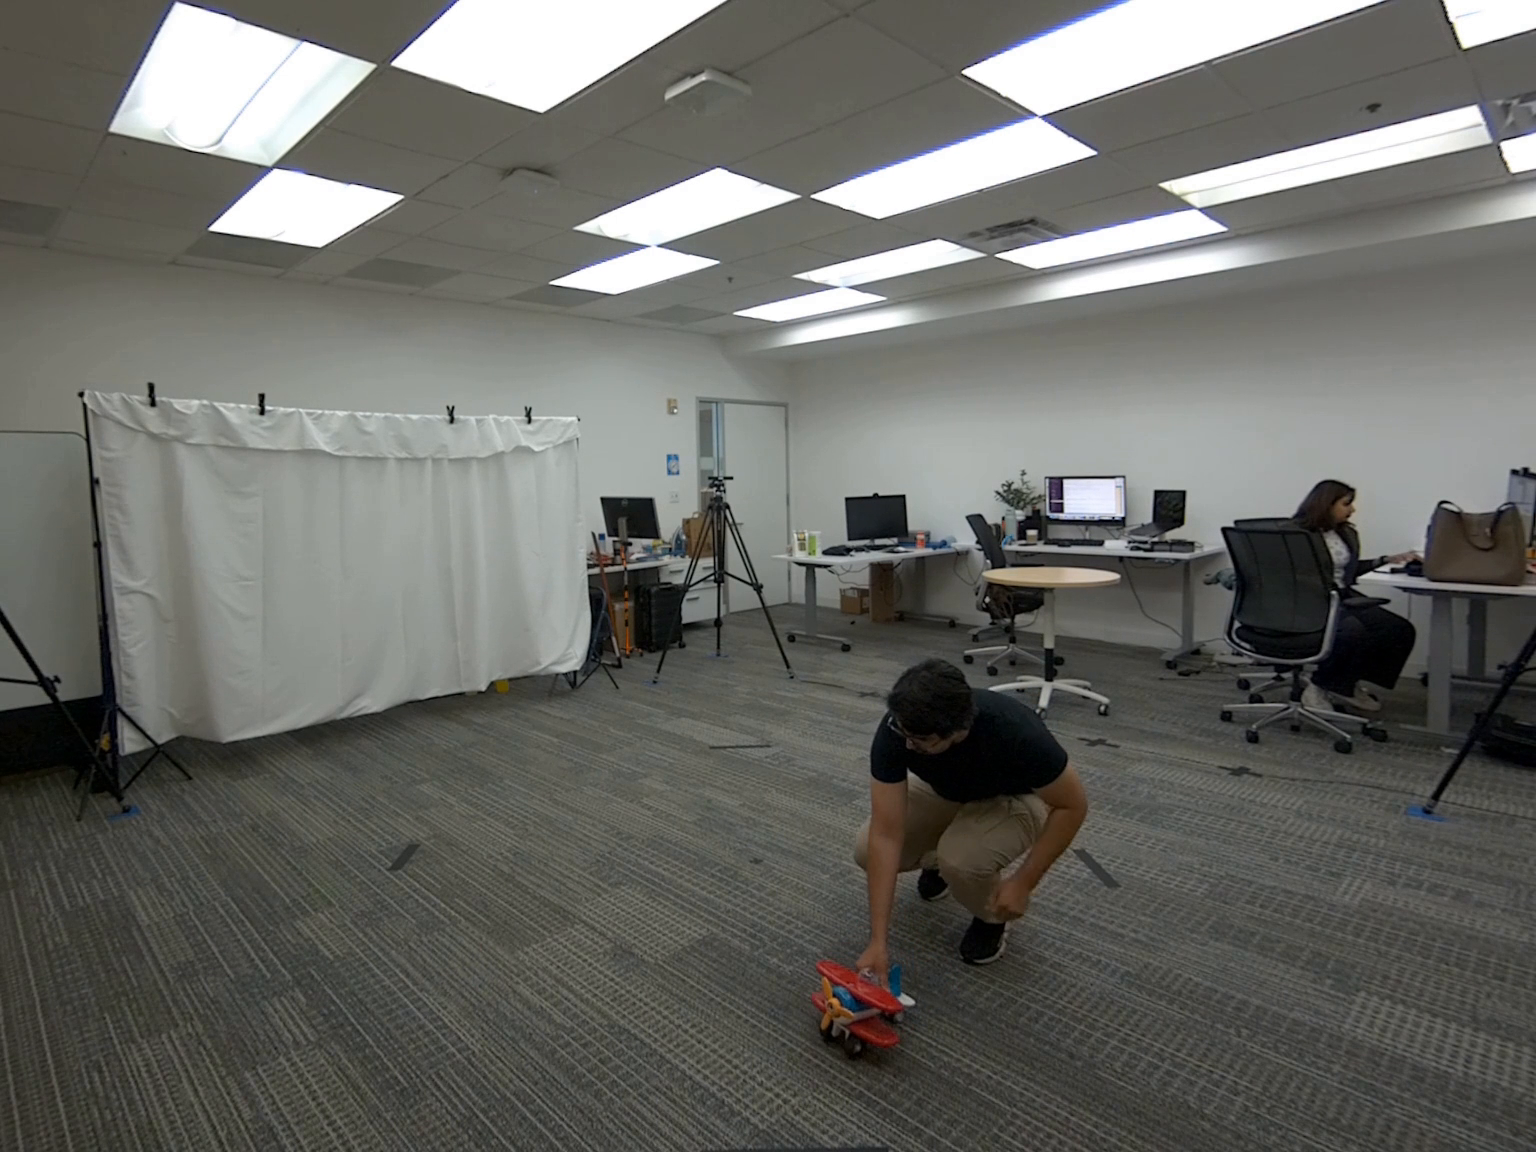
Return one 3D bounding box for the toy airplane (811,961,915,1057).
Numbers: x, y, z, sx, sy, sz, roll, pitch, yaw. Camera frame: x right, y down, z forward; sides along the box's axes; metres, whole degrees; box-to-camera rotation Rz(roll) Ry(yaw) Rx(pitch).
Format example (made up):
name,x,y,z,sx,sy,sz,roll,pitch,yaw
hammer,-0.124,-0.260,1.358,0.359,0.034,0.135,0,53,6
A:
name,x,y,z,sx,sy,sz,roll,pitch,yaw
toy airplane,0.240,1.071,2.145,0.256,0.155,0.255,1,7,21
